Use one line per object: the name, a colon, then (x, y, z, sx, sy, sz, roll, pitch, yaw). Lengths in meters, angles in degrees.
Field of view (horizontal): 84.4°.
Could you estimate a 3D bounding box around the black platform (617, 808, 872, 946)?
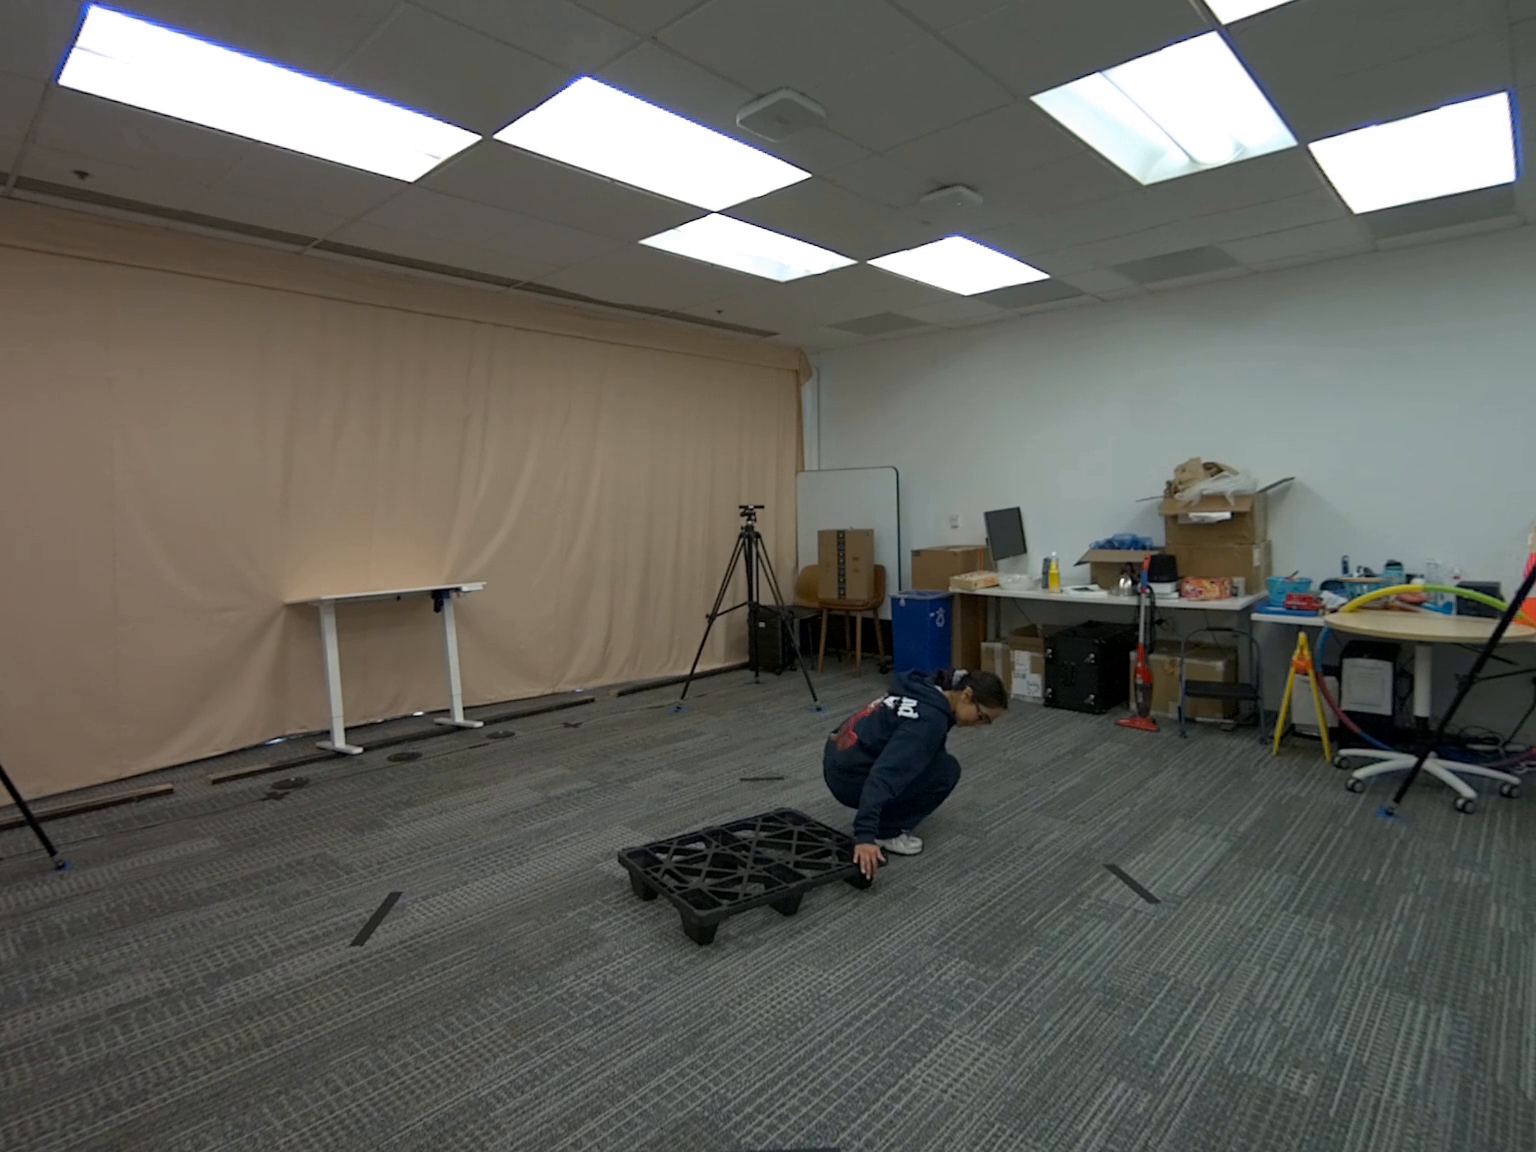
black platform: (-0.064, 1.070, 3.045, 0.783, 0.143, 0.624, -4, 5, -34)
